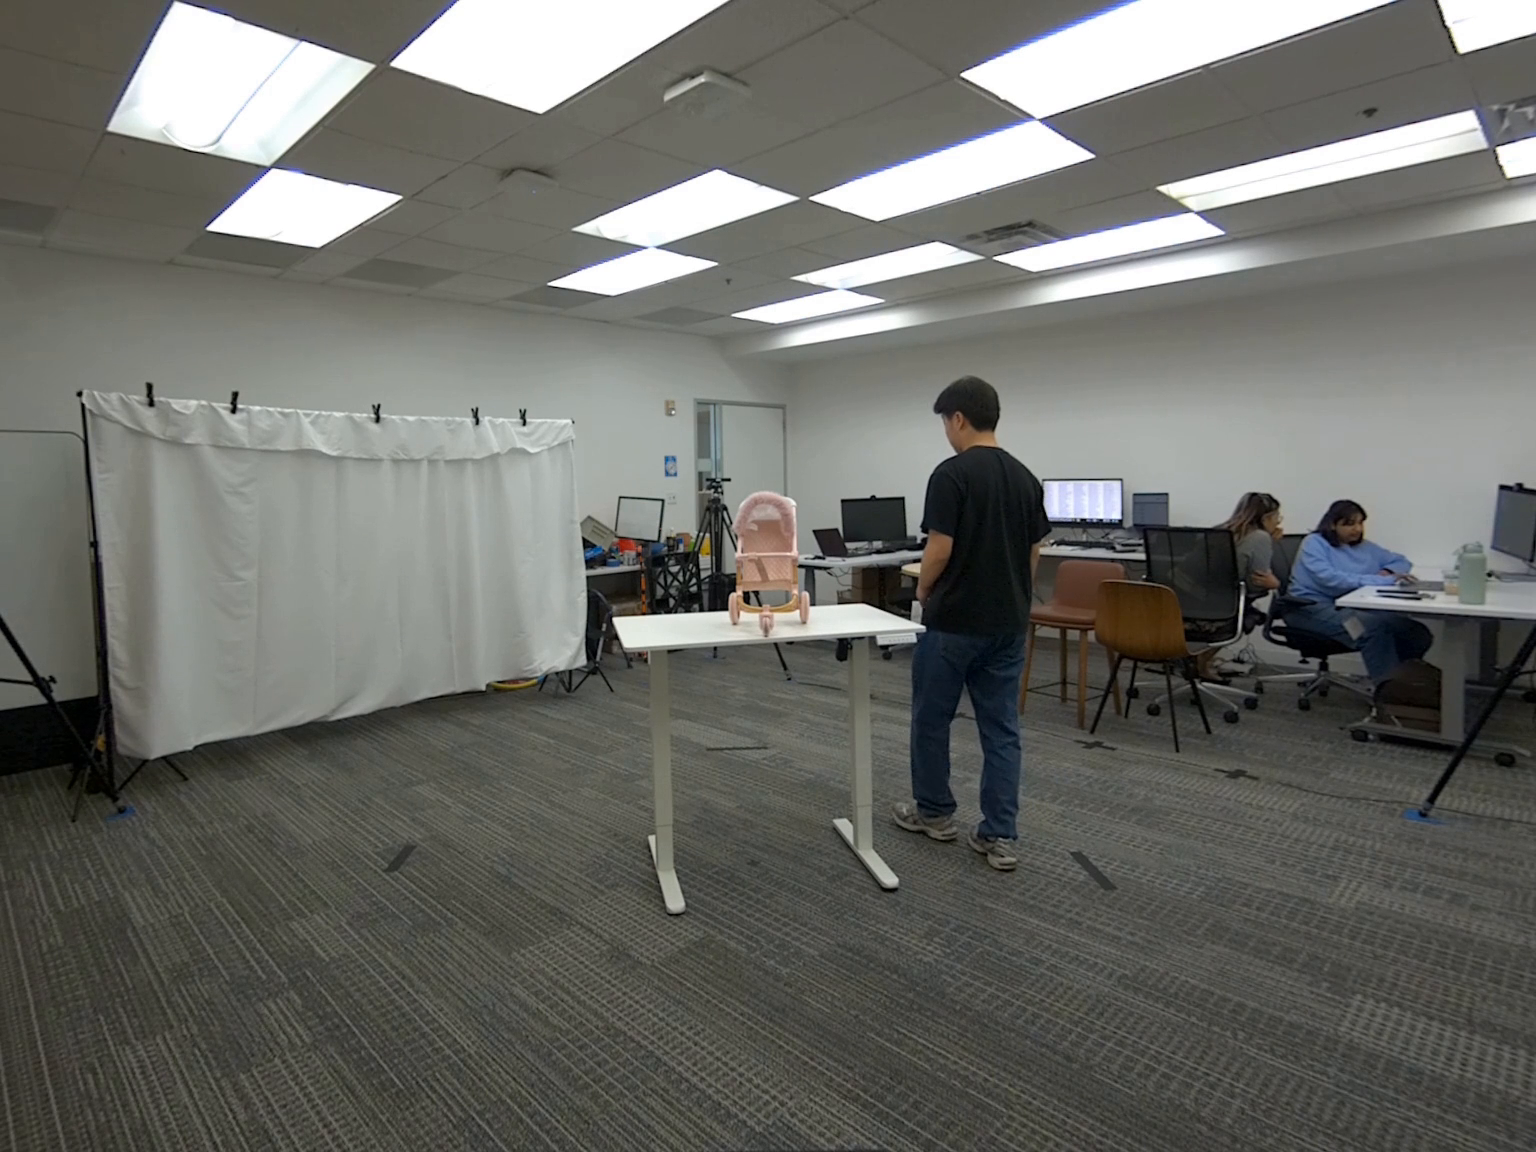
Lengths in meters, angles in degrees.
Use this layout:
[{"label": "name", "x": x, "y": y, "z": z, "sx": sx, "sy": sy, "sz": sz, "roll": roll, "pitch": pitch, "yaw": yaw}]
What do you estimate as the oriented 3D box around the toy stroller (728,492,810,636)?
[{"label": "toy stroller", "x": -0.002, "y": -0.048, "z": 2.938, "sx": 0.284, "sy": 0.540, "sz": 0.335, "roll": -1, "pitch": -10, "yaw": 8}]
